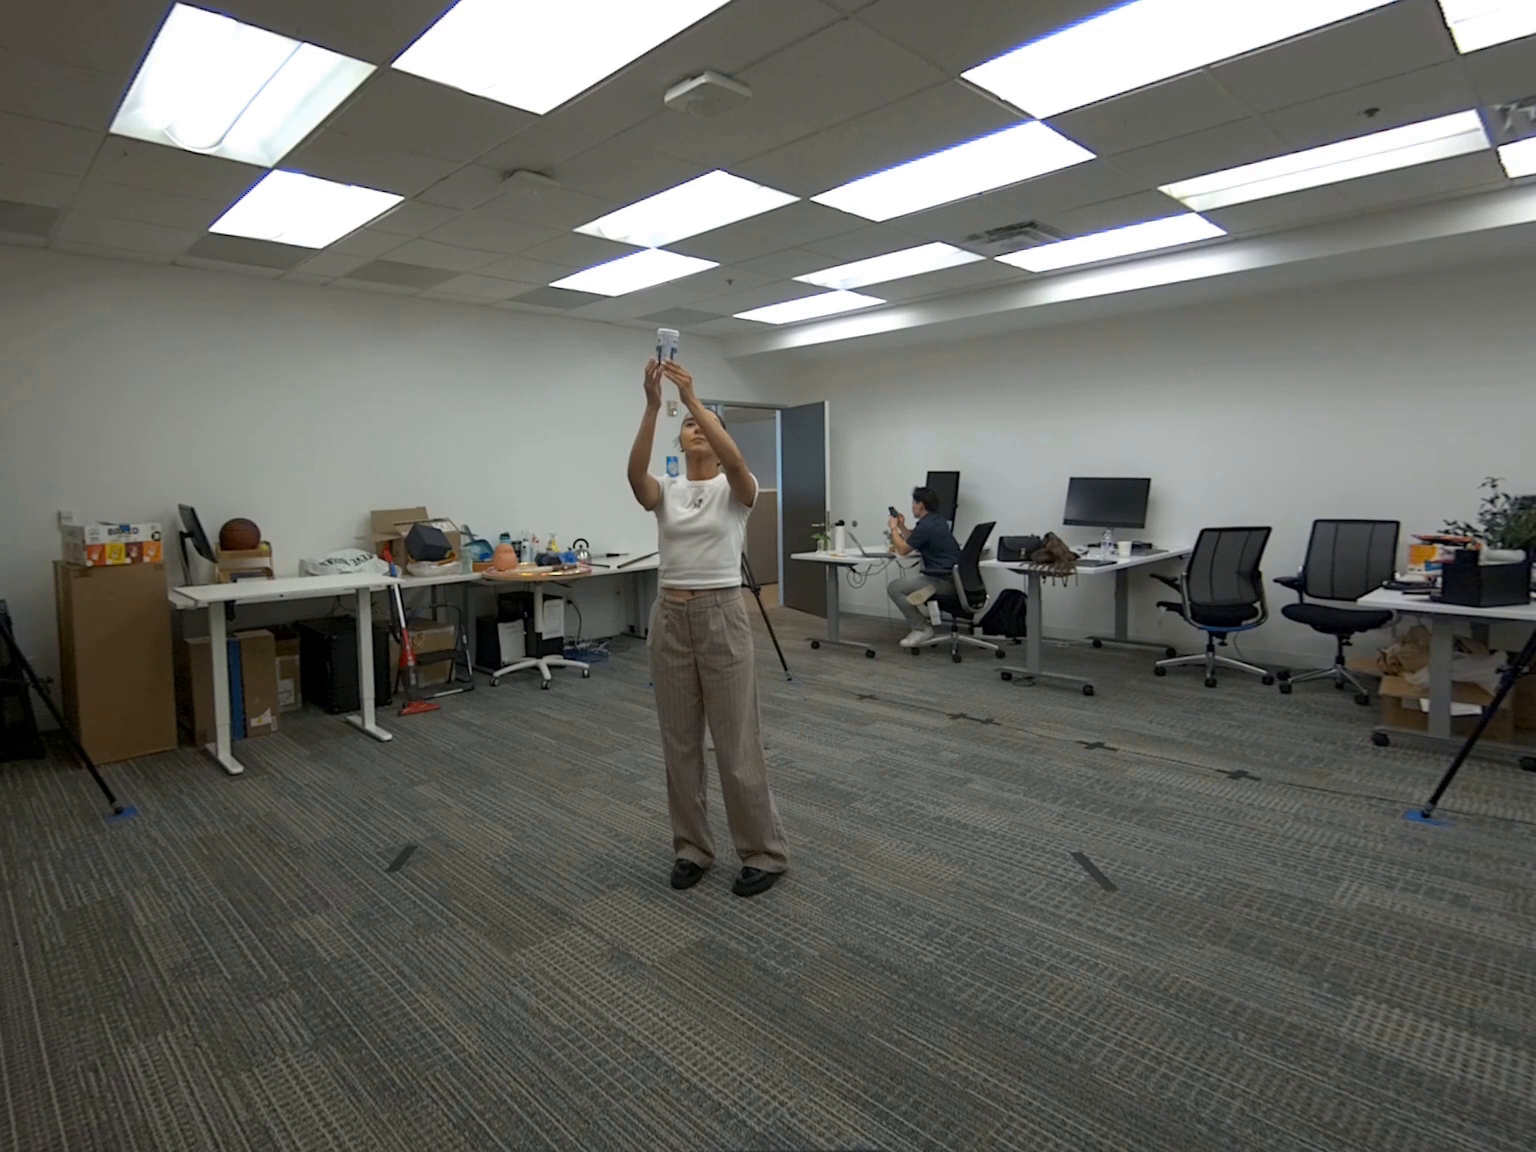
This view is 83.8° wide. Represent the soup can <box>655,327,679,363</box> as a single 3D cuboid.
[{"bbox_3d":[-0.305,-0.692,2.607,0.067,0.121,0.067,4,6,-2],"label":"soup can"}]
